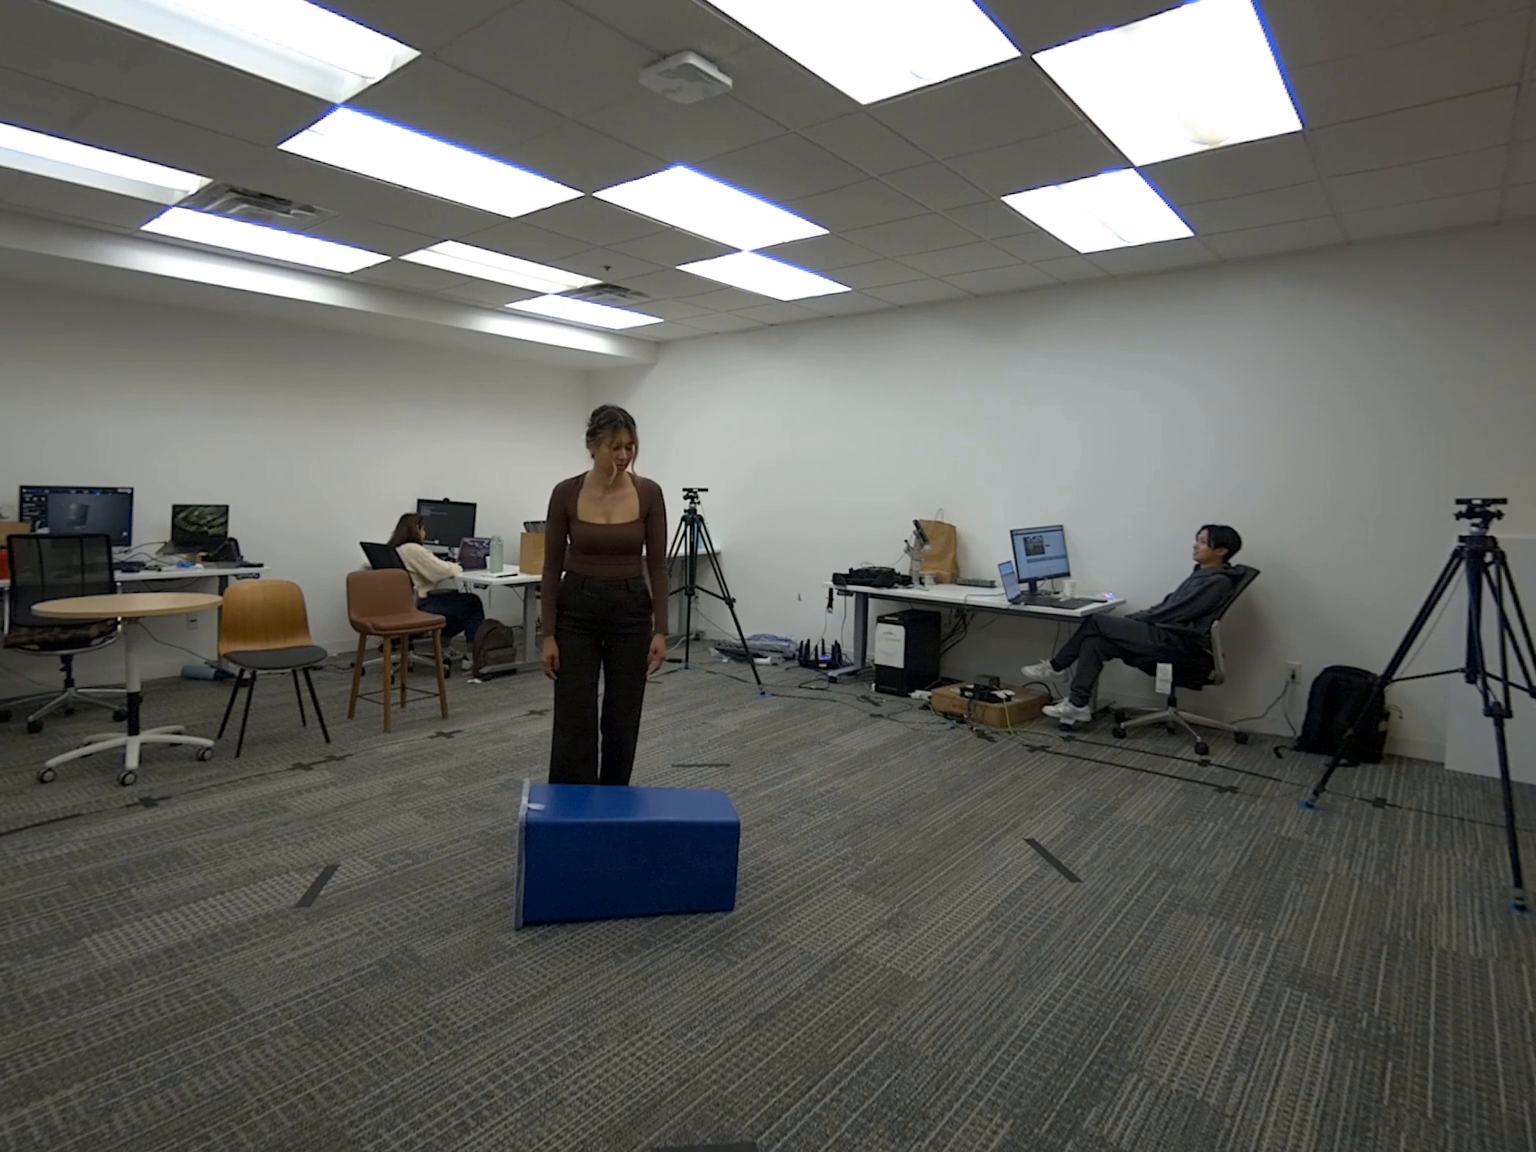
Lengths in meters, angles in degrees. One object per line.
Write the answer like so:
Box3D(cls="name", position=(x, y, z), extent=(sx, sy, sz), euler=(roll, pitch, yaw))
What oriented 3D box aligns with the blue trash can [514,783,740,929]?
Box3D(cls="blue trash can", position=(-0.490, 0.924, 2.879), extent=(0.704, 0.377, 0.380), euler=(3, 3, -12))
